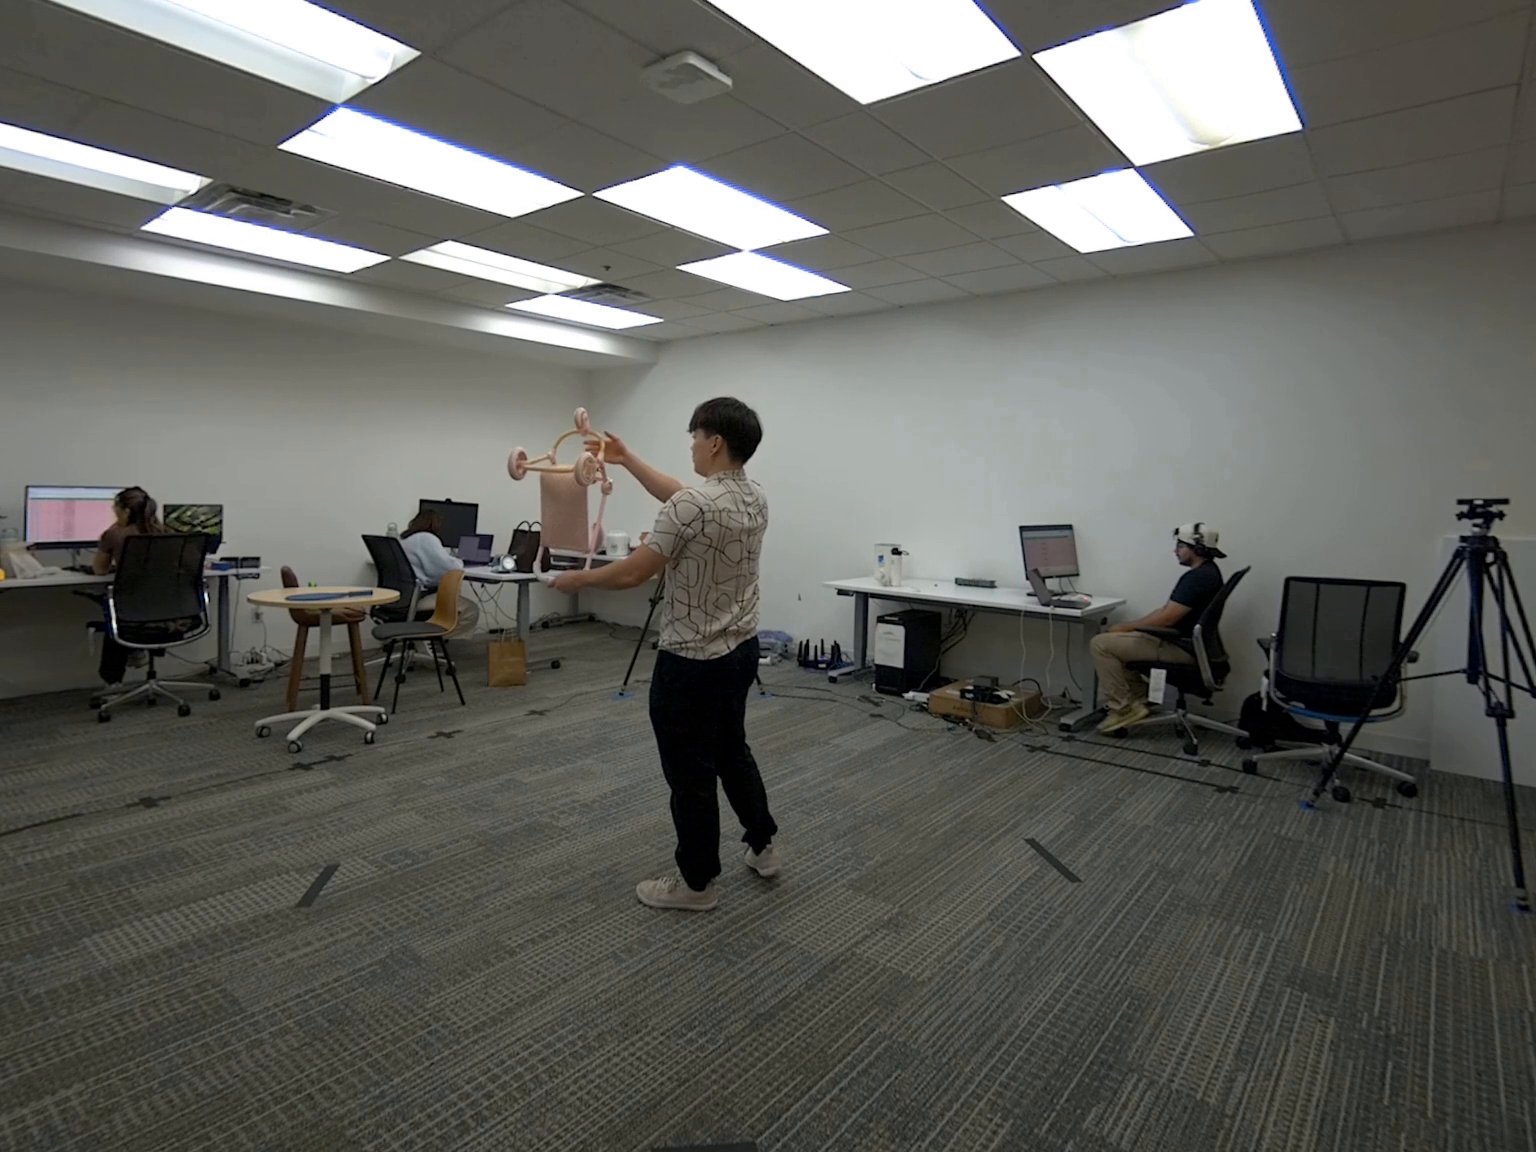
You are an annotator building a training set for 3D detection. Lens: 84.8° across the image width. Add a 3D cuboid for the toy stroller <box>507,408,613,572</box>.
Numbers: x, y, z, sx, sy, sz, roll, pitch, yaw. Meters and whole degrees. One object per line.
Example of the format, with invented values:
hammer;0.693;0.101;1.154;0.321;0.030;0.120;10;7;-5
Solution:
toy stroller;-0.680;-0.276;2.912;0.286;0.522;0.345;4;28;12
